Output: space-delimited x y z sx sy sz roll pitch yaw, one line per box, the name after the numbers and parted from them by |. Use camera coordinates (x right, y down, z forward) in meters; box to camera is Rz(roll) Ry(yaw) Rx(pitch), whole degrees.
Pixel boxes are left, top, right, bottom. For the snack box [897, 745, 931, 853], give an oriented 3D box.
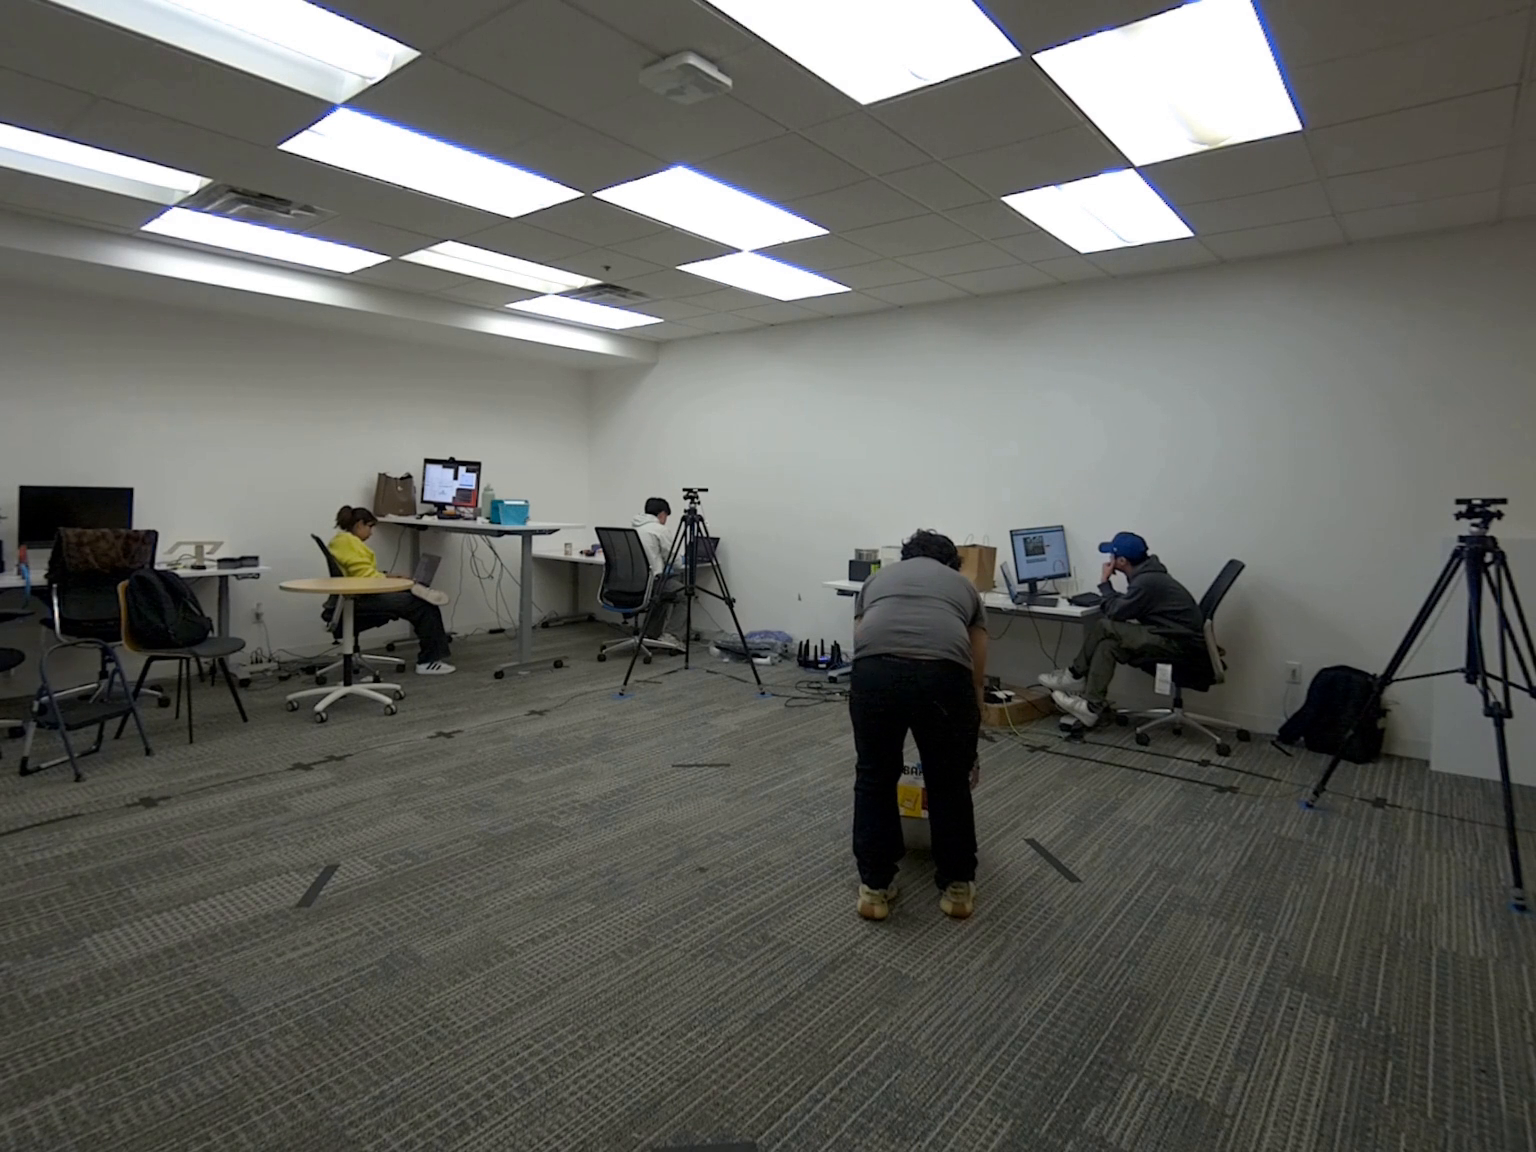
0.567 0.871 3.227 0.345 0.210 0.391 4 -32 11 | snack box
